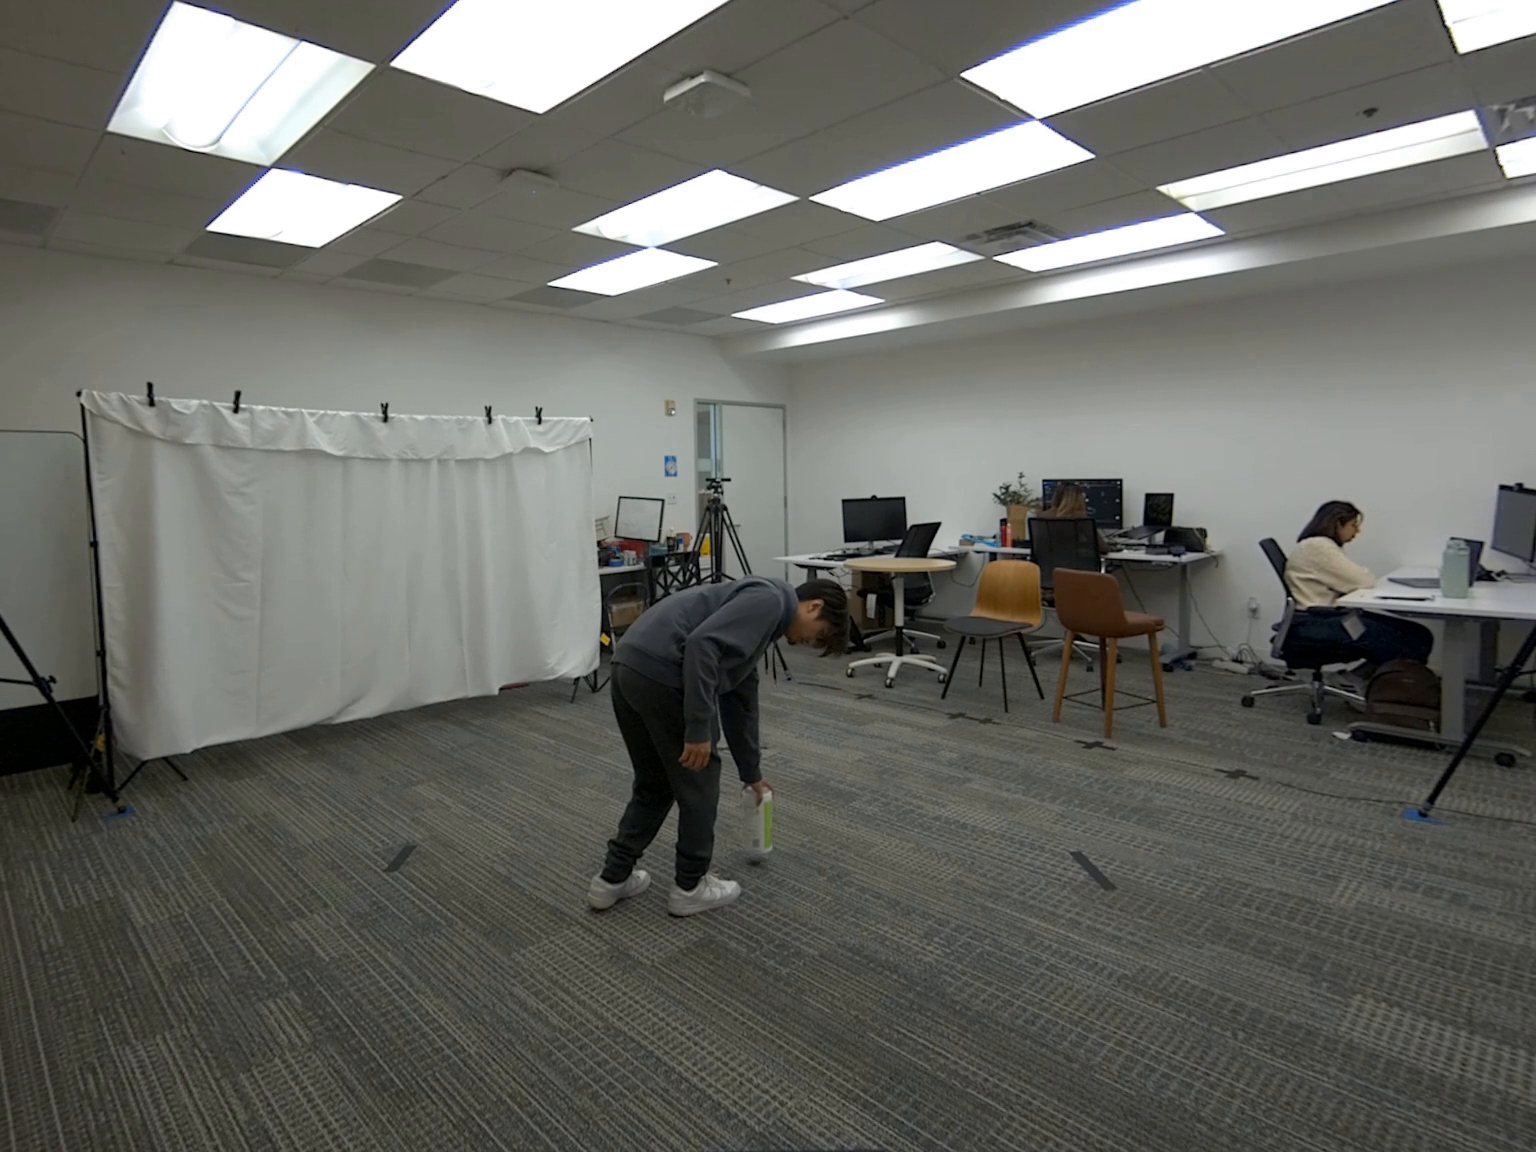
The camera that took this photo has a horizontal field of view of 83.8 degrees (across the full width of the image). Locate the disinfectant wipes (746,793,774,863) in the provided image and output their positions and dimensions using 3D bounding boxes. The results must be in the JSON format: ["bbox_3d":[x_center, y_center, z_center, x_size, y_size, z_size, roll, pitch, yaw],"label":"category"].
[{"bbox_3d":[-0.035,0.890,3.105,0.118,0.217,0.118,0,3,-2],"label":"disinfectant wipes"}]
